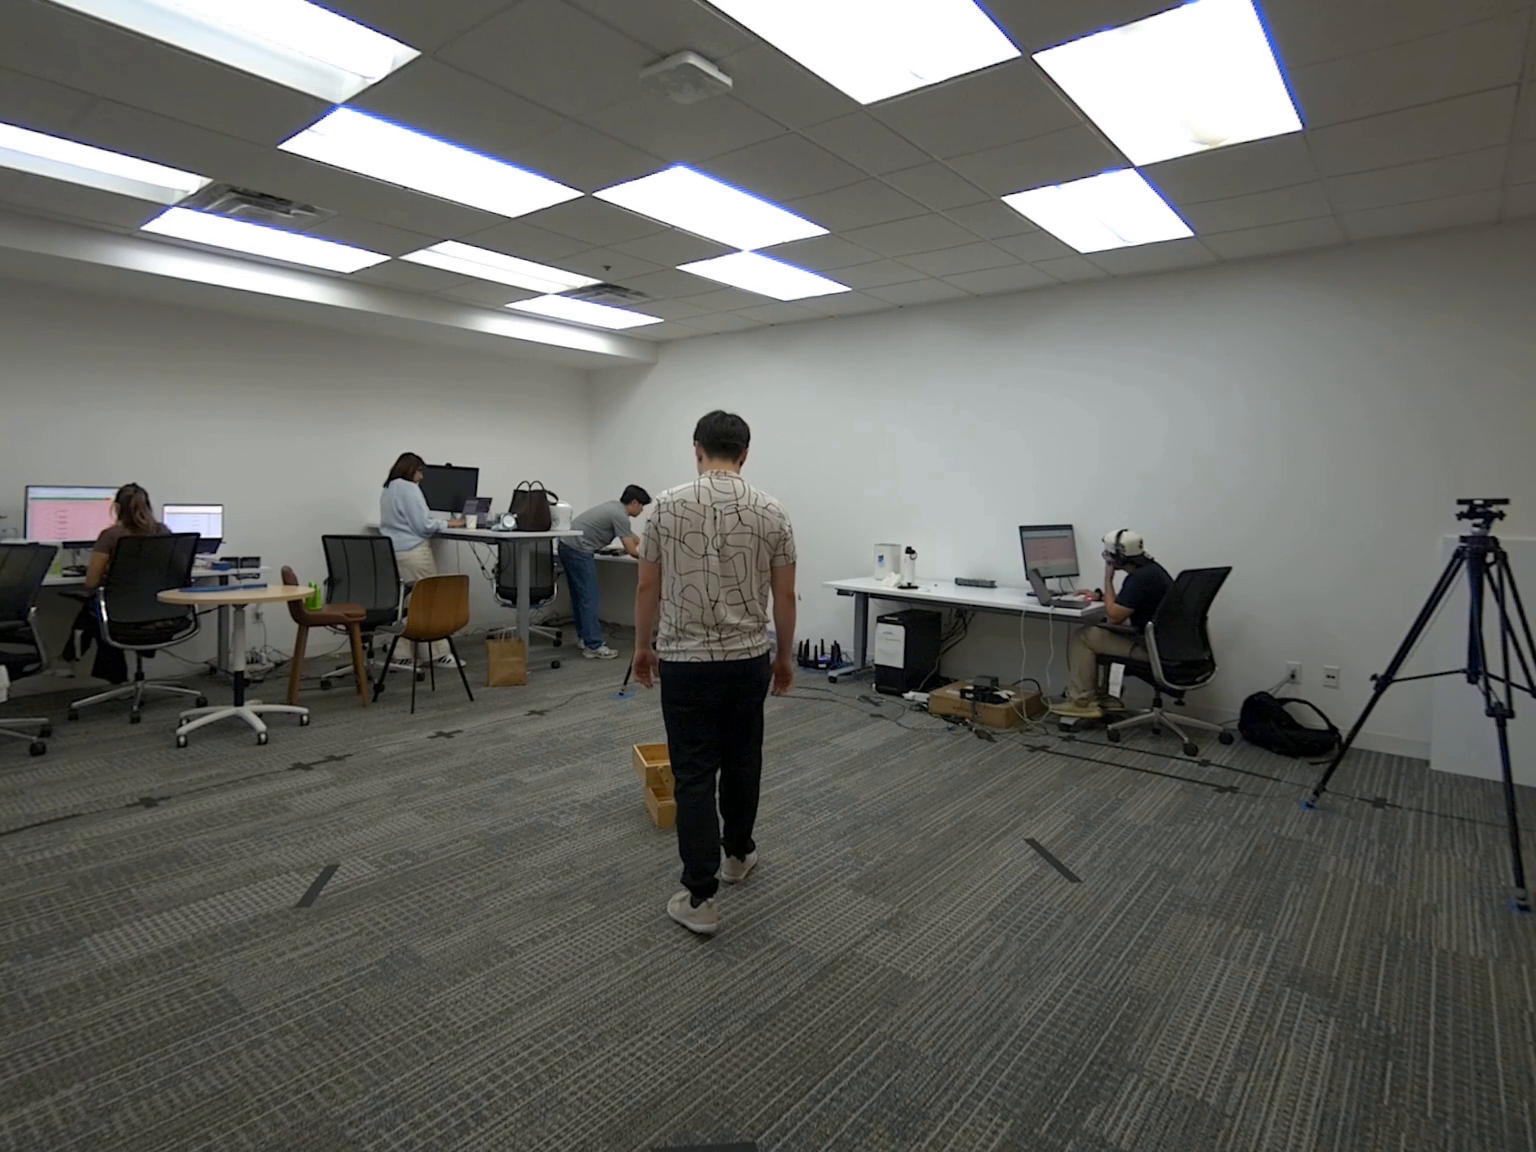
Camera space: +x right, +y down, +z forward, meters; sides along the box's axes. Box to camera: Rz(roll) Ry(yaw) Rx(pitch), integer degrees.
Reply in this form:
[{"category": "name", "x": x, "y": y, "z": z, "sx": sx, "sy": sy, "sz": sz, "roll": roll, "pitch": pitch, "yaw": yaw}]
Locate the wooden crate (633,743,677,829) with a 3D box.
[{"category": "wooden crate", "x": -0.410, "y": 0.880, "z": 3.654, "sx": 0.297, "sy": 0.272, "sz": 0.331, "roll": -1, "pitch": 5, "yaw": -18}]
